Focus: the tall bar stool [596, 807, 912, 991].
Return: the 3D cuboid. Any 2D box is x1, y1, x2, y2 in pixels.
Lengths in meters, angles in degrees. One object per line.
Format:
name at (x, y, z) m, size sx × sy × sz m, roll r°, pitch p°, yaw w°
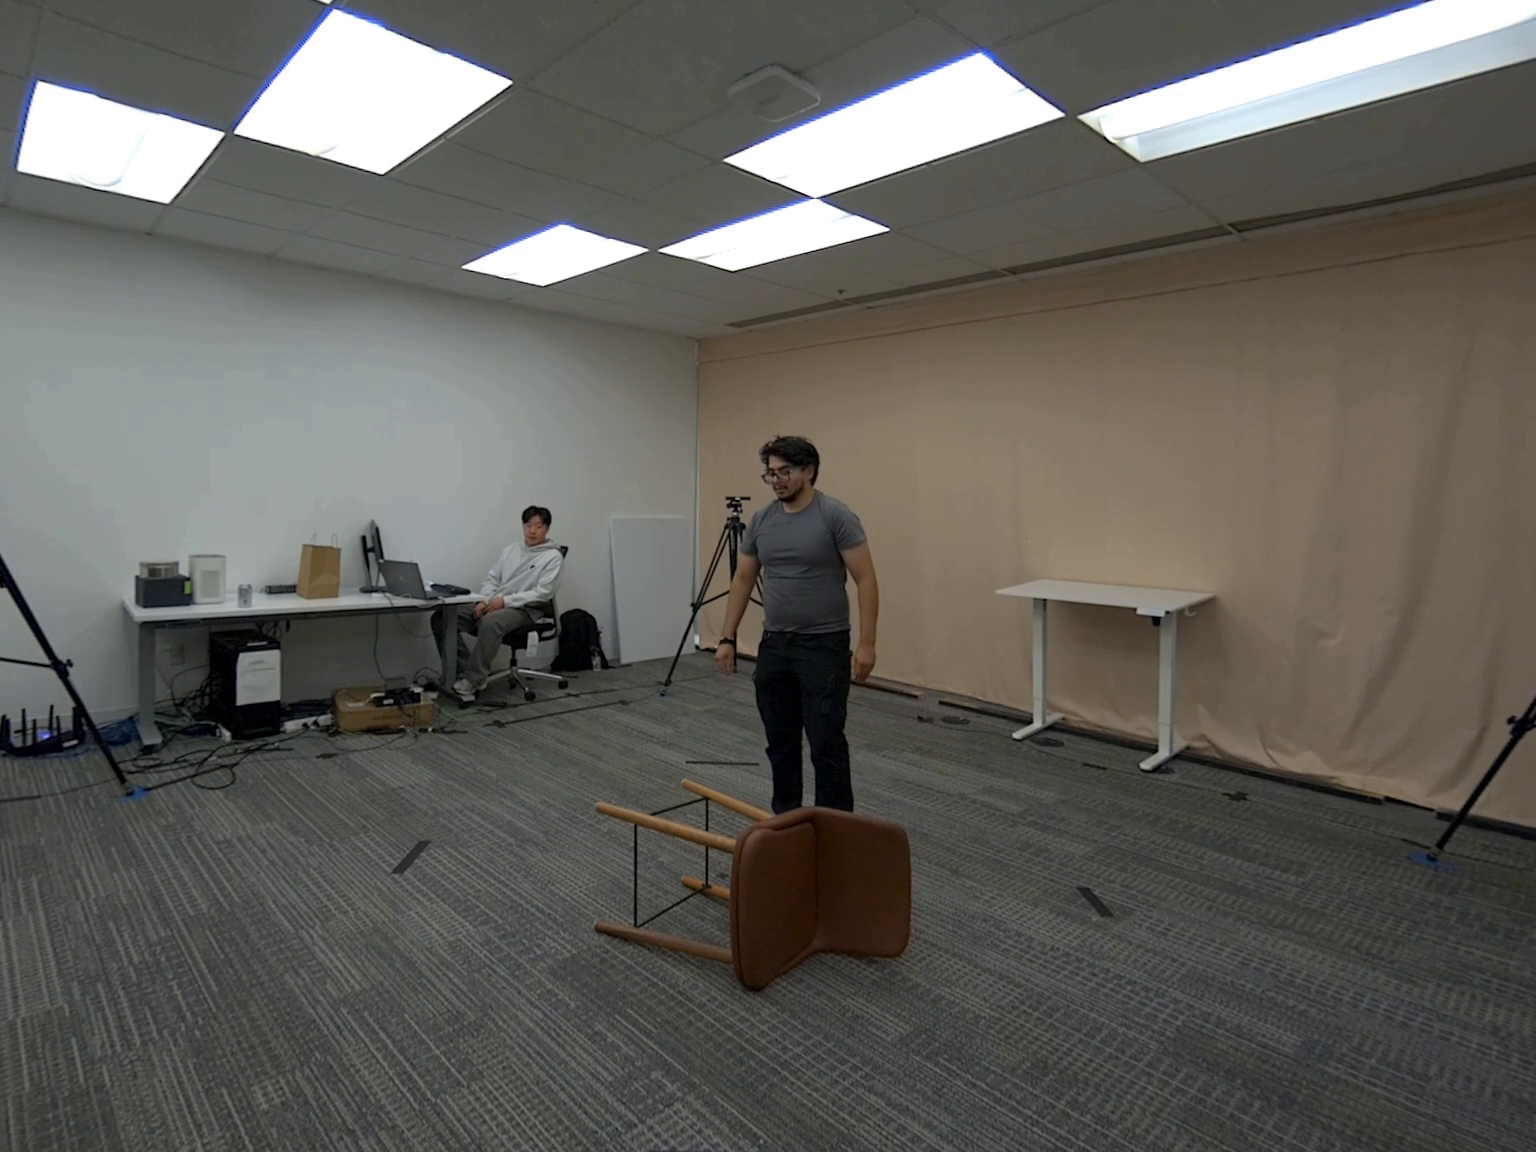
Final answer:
tall bar stool at (-0.066, 0.941, 2.605) m, size 0.910 × 0.456 × 0.457 m, roll 2°, pitch 1°, yaw 35°
